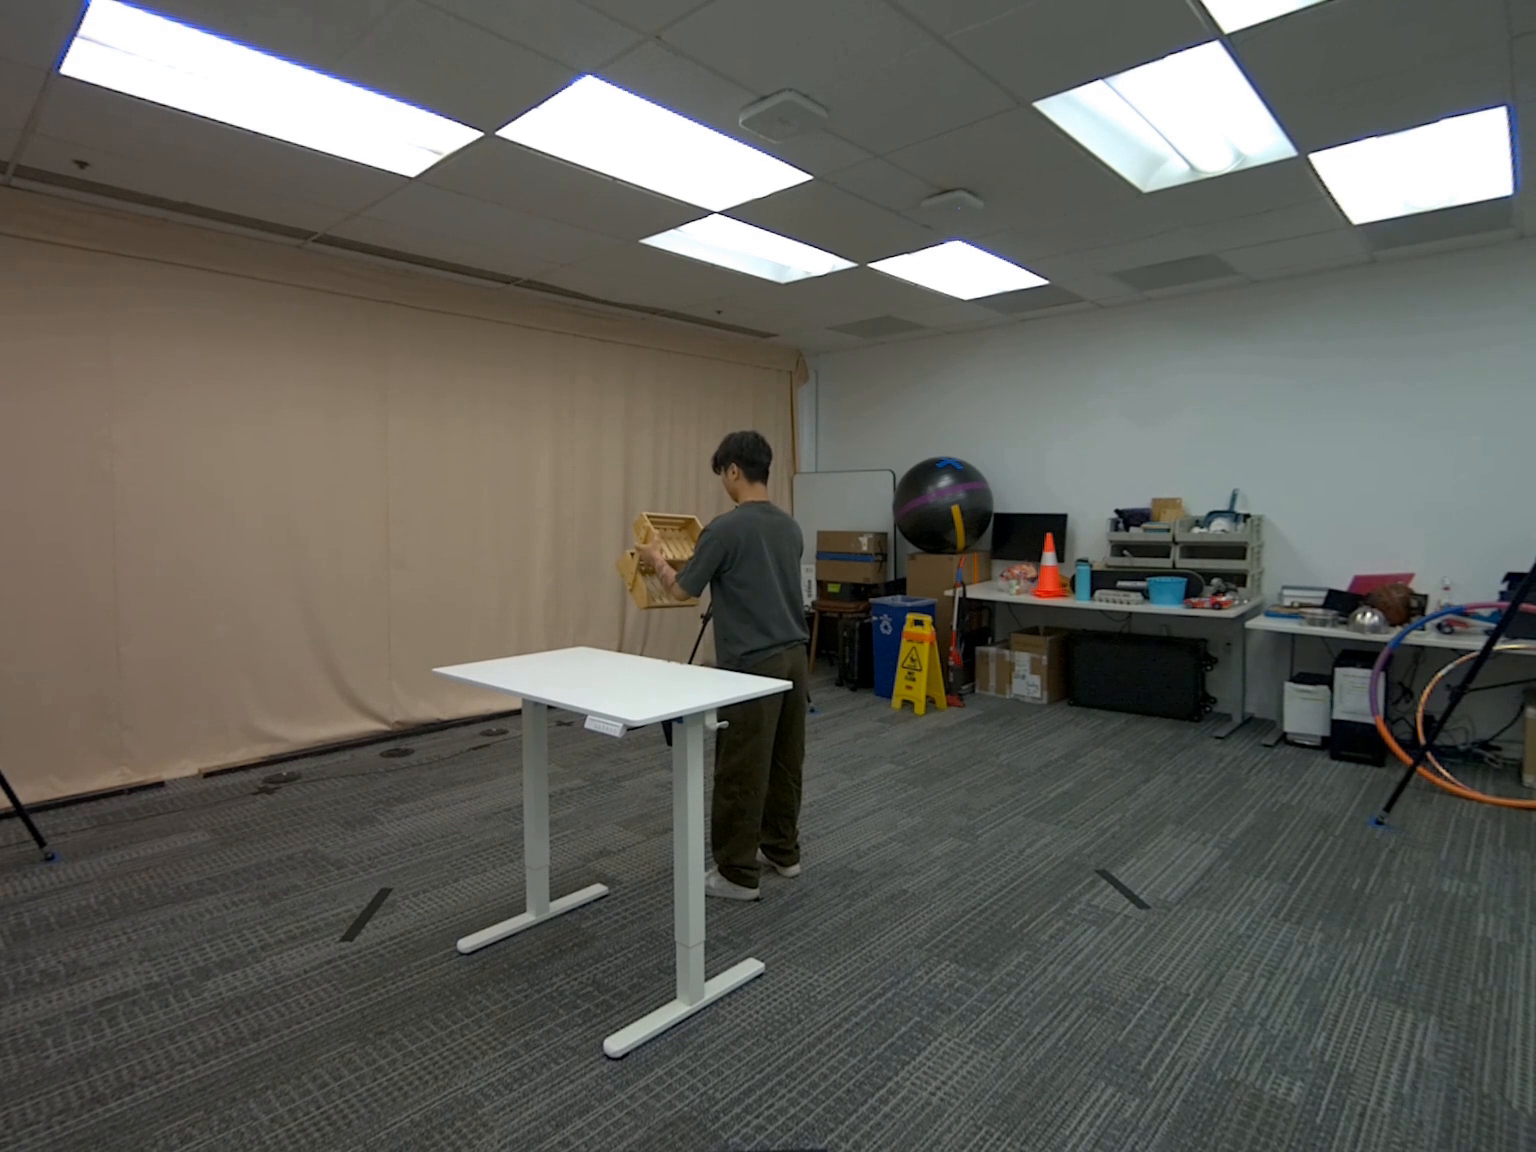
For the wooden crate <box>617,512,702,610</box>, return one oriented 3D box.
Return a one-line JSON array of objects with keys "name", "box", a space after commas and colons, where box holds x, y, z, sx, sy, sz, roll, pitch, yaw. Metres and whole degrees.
[{"name": "wooden crate", "box": [-0.392, -0.053, 3.416, 0.314, 0.310, 0.275, 0, -42, -49]}]
